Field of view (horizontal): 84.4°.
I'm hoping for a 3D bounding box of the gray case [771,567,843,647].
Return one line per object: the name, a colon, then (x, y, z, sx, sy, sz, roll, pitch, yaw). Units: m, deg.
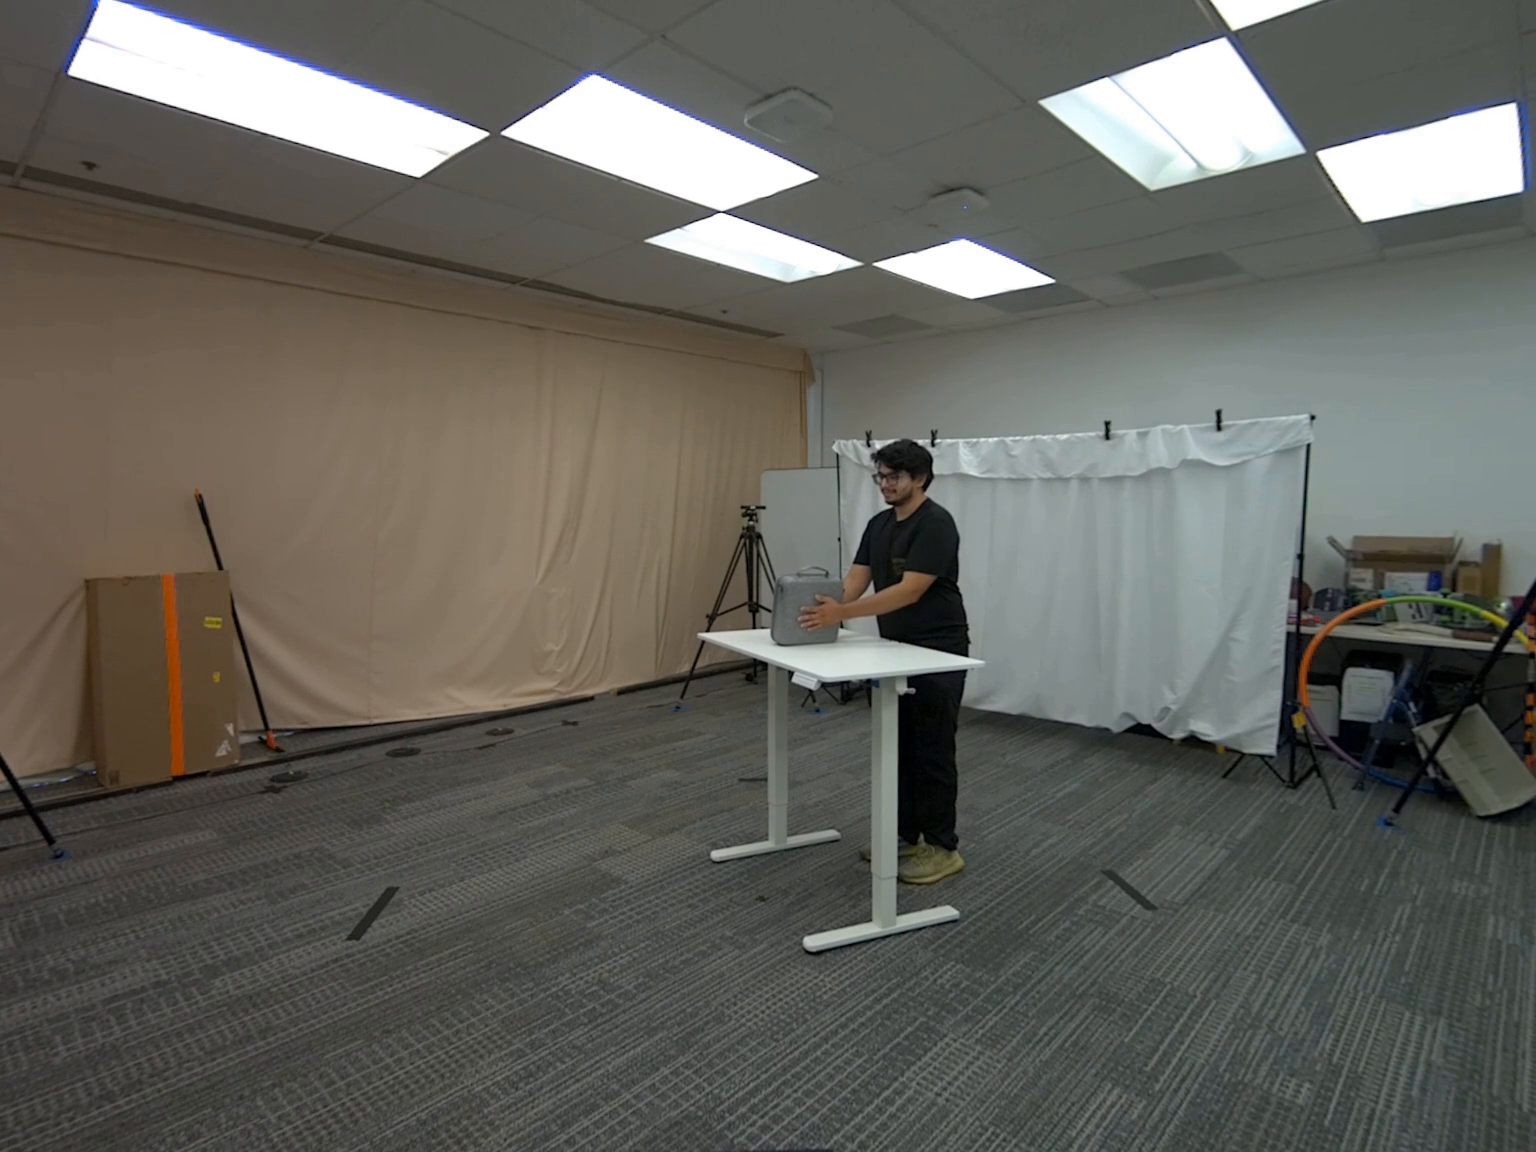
gray case: (0.146, 0.121, 3.098, 0.252, 0.259, 0.107, 0, 11, -20)
